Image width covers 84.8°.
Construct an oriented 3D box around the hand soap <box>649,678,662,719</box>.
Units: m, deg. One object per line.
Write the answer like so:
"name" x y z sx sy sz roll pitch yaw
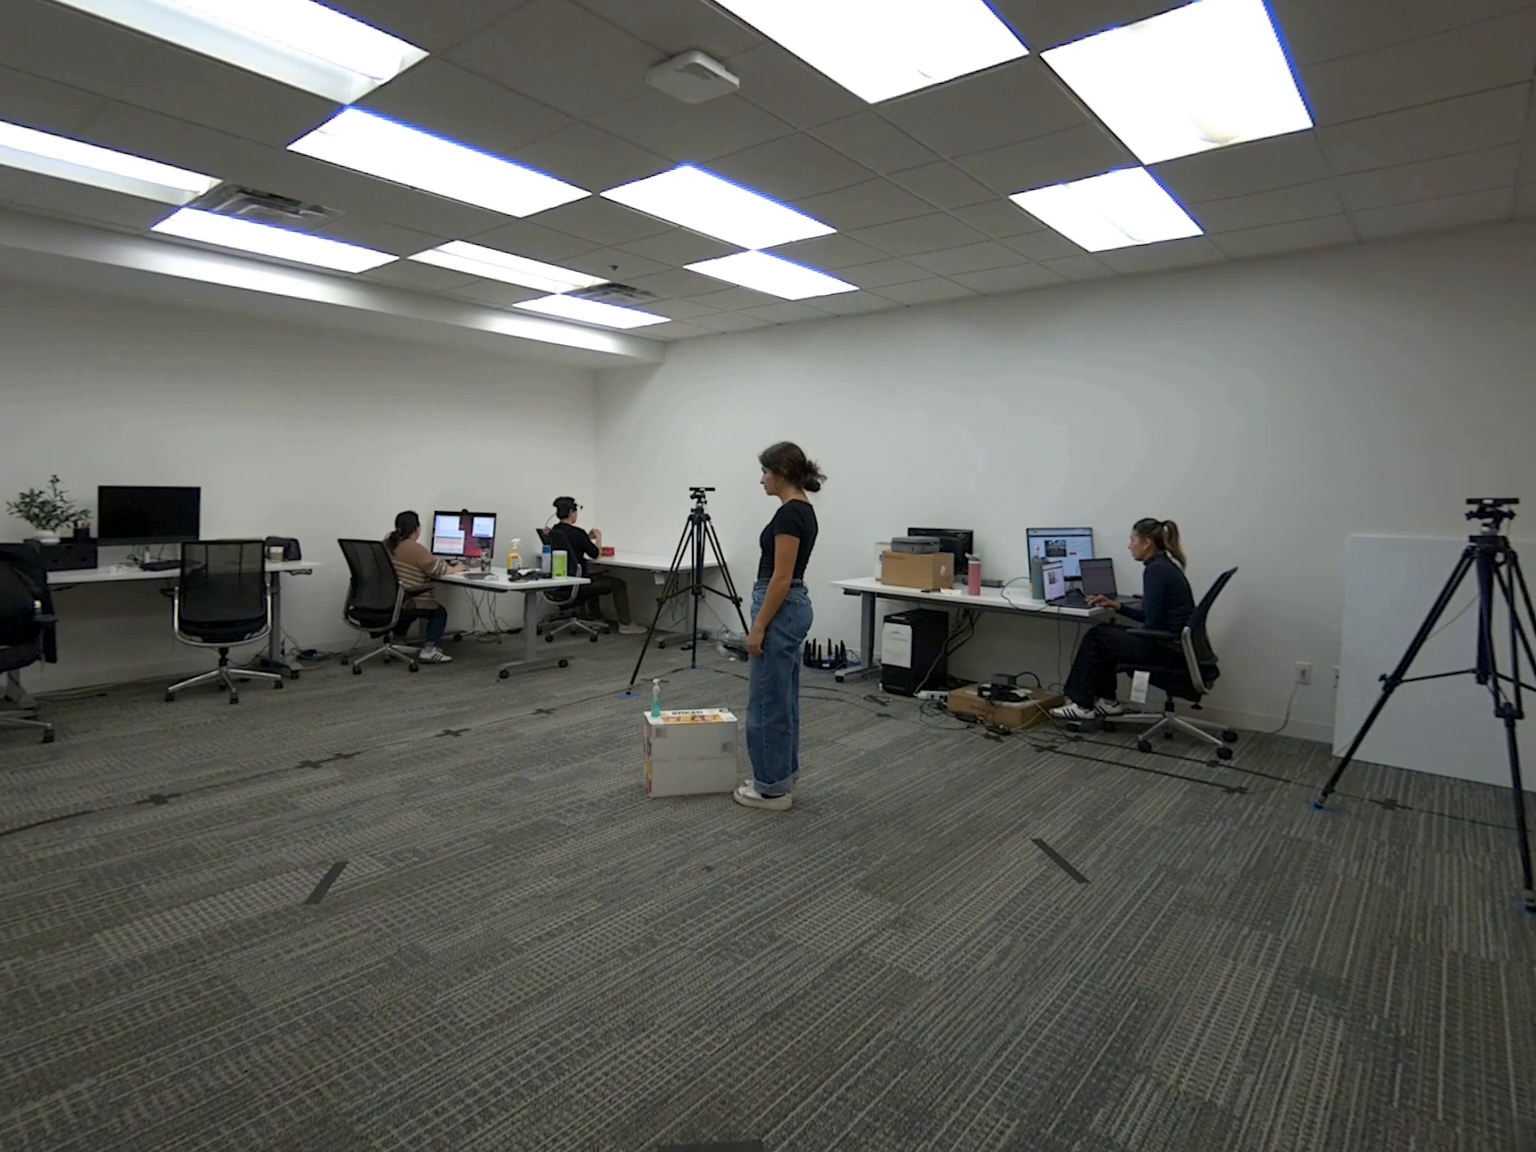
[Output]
"hand soap" -0.531 0.557 3.944 0.043 0.167 0.085 -2 4 -5
